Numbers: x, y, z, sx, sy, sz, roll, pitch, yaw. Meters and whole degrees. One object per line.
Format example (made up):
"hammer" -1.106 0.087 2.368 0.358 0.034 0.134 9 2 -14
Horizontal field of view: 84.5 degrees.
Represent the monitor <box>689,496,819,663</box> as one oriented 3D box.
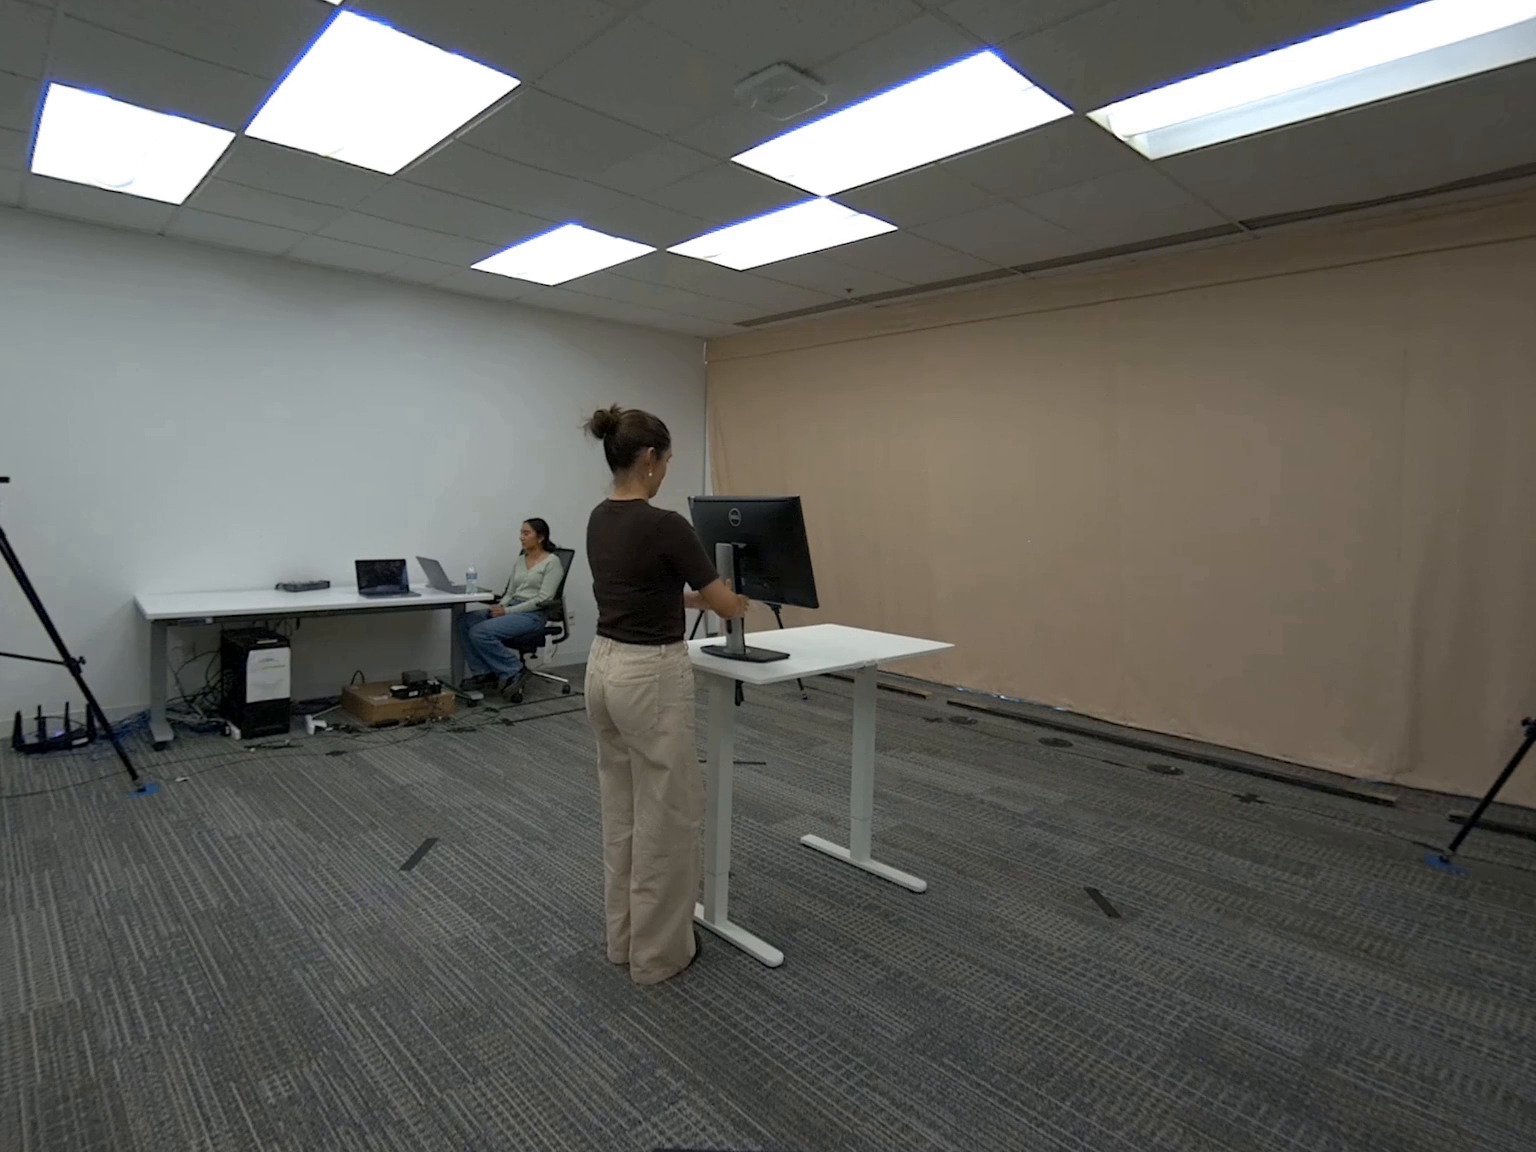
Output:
"monitor" -0.085 0.006 2.694 0.183 0.521 0.553 -3 5 -43
